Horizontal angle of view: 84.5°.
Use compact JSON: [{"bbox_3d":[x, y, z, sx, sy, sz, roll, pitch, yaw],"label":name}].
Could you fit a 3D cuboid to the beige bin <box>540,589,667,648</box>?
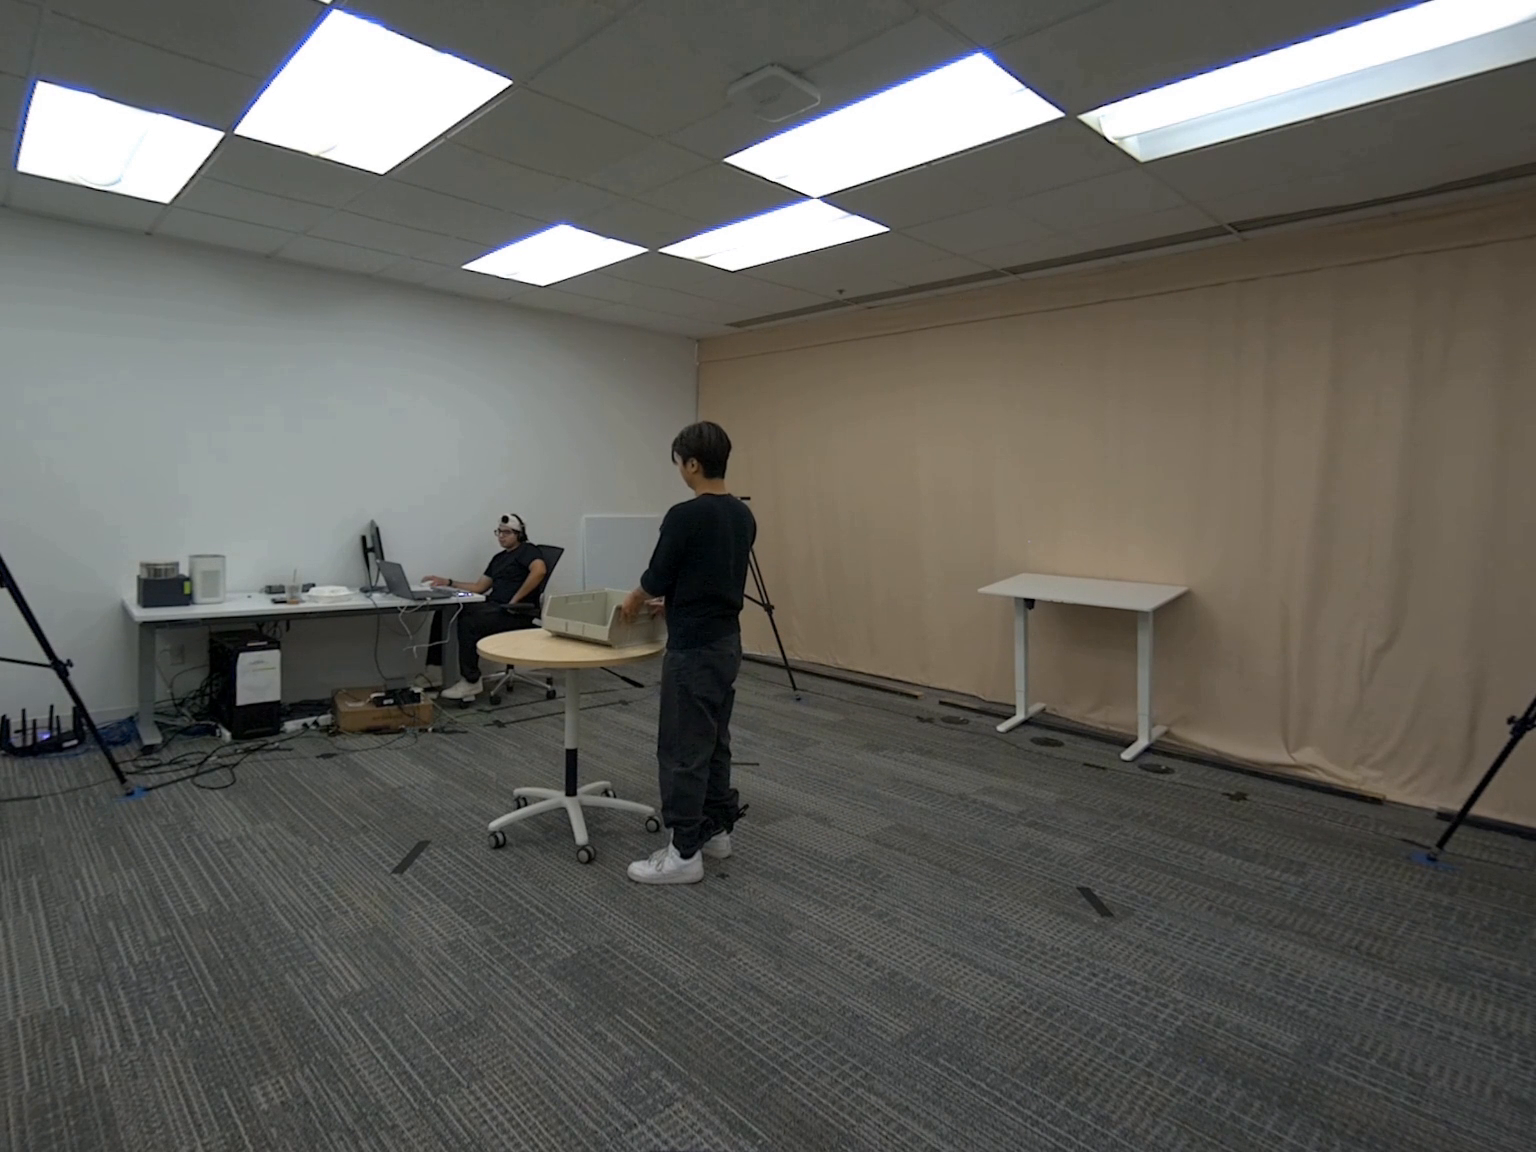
[{"bbox_3d":[-0.690,0.176,3.596,0.433,0.188,0.369,6,5,37],"label":"beige bin"}]
